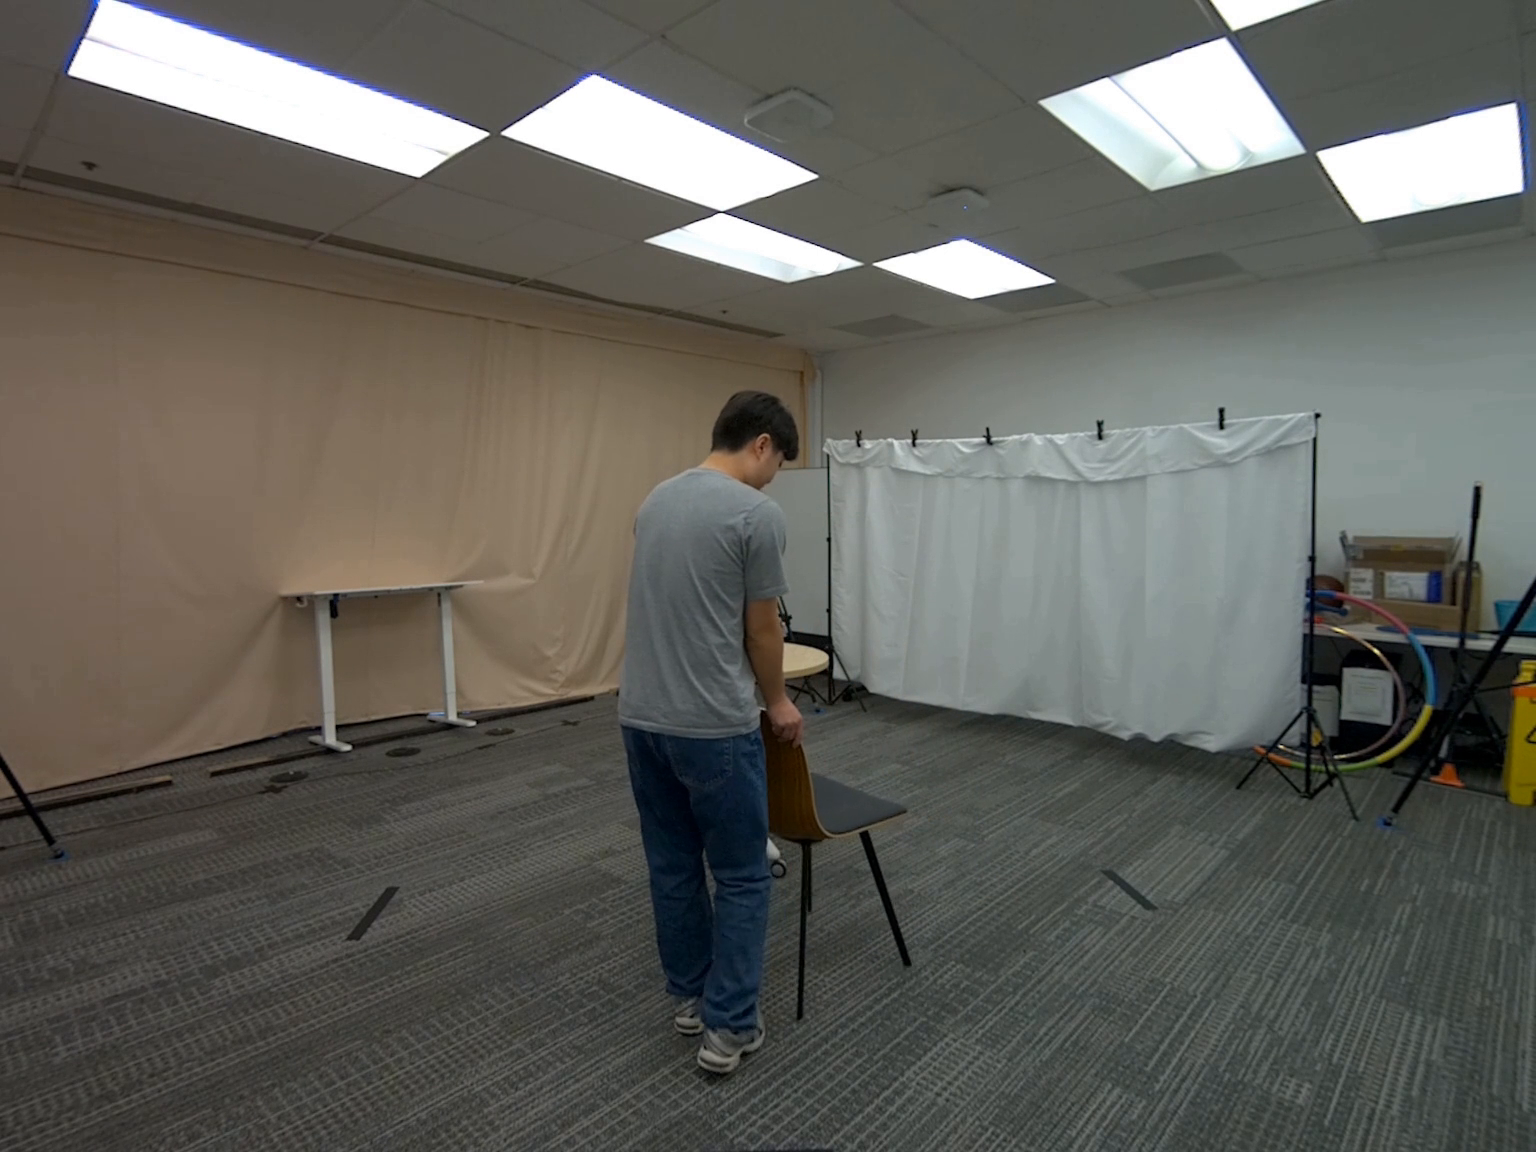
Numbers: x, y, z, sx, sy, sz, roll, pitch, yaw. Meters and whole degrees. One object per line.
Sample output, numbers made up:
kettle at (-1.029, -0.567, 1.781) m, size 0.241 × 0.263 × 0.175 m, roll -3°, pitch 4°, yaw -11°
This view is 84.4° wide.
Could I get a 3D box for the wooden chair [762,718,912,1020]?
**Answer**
wooden chair at (0.121, 0.748, 2.572) m, size 0.508 × 0.874 × 0.493 m, roll -9°, pitch 8°, yaw -38°
